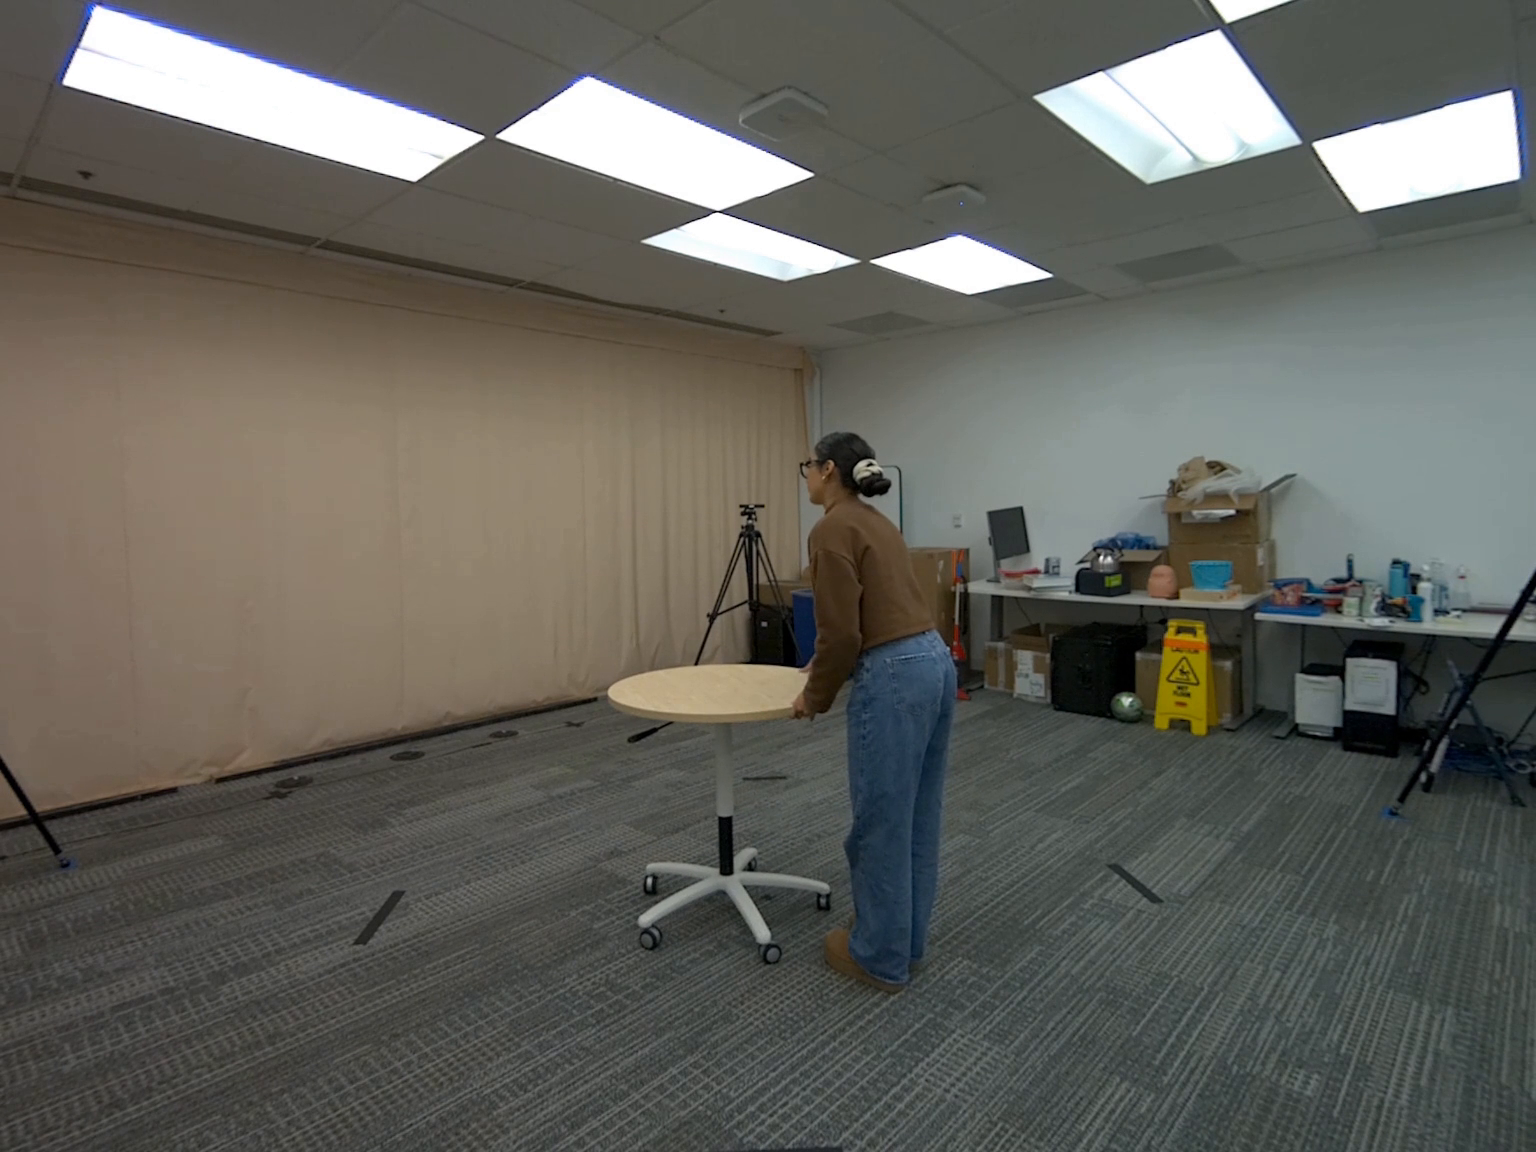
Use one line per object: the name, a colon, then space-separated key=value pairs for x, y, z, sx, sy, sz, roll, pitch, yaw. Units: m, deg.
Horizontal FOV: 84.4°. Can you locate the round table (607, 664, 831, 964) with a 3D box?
round table: x=-0.138 y=0.763 z=2.861 sx=0.763 sy=0.792 sz=0.767 roll=-2 pitch=4 yaw=-2
